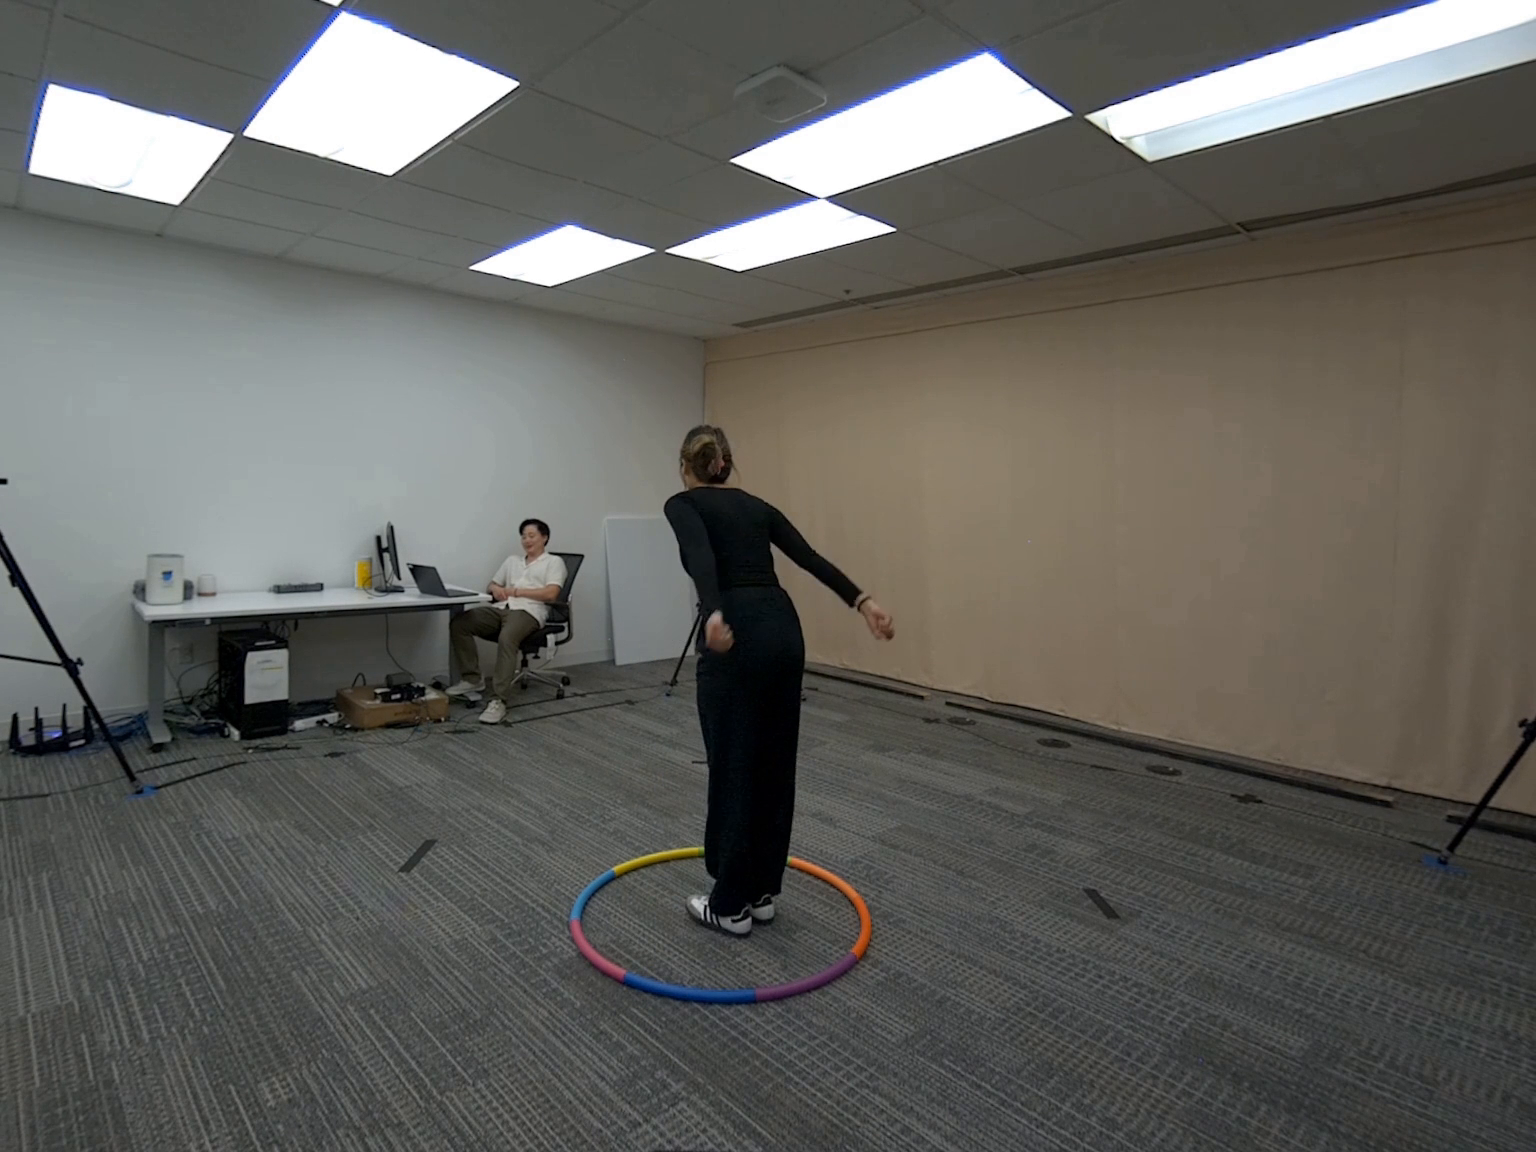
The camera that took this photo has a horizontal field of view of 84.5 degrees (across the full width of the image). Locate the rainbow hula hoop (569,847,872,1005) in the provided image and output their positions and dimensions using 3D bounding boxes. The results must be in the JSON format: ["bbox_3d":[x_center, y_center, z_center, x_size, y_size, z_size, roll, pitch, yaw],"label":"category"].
[{"bbox_3d":[-0.163,1.107,2.801,0.978,0.035,0.982,1,5,-1],"label":"rainbow hula hoop"}]
